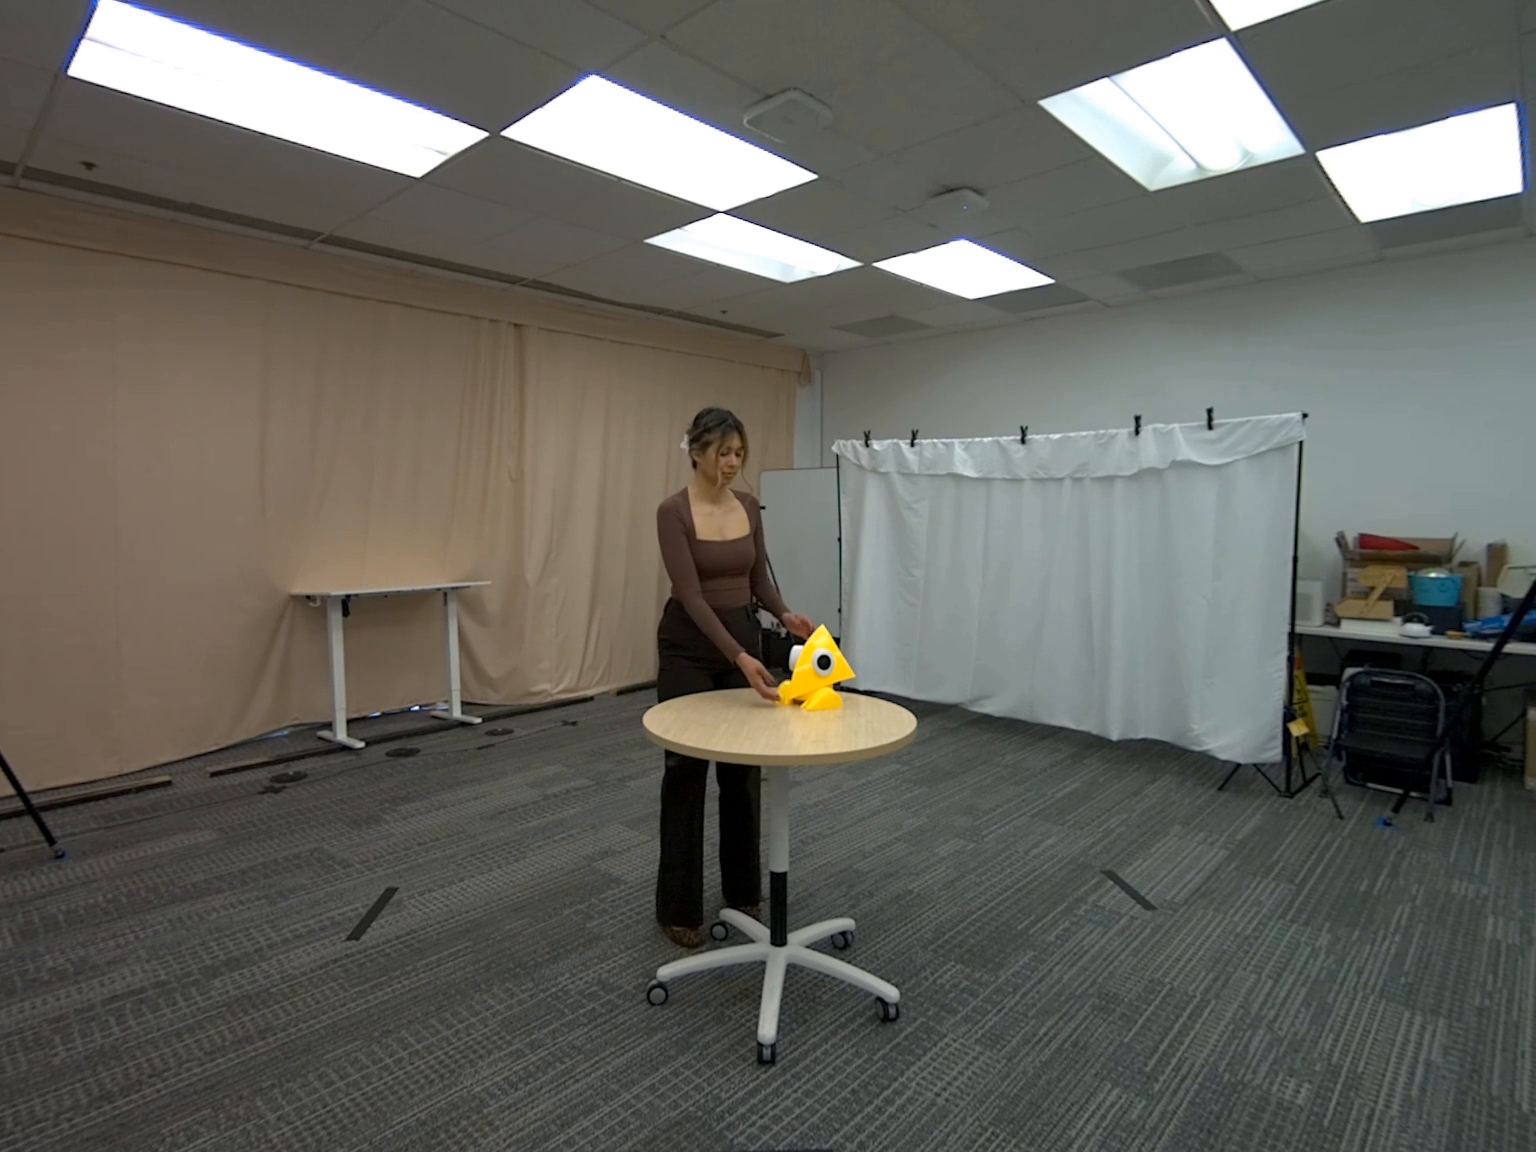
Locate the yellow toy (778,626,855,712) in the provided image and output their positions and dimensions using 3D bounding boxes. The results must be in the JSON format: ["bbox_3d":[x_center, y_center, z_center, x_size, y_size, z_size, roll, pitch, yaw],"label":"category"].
[{"bbox_3d":[0.134,0.272,2.546,0.211,0.230,0.187,3,5,45],"label":"yellow toy"}]
